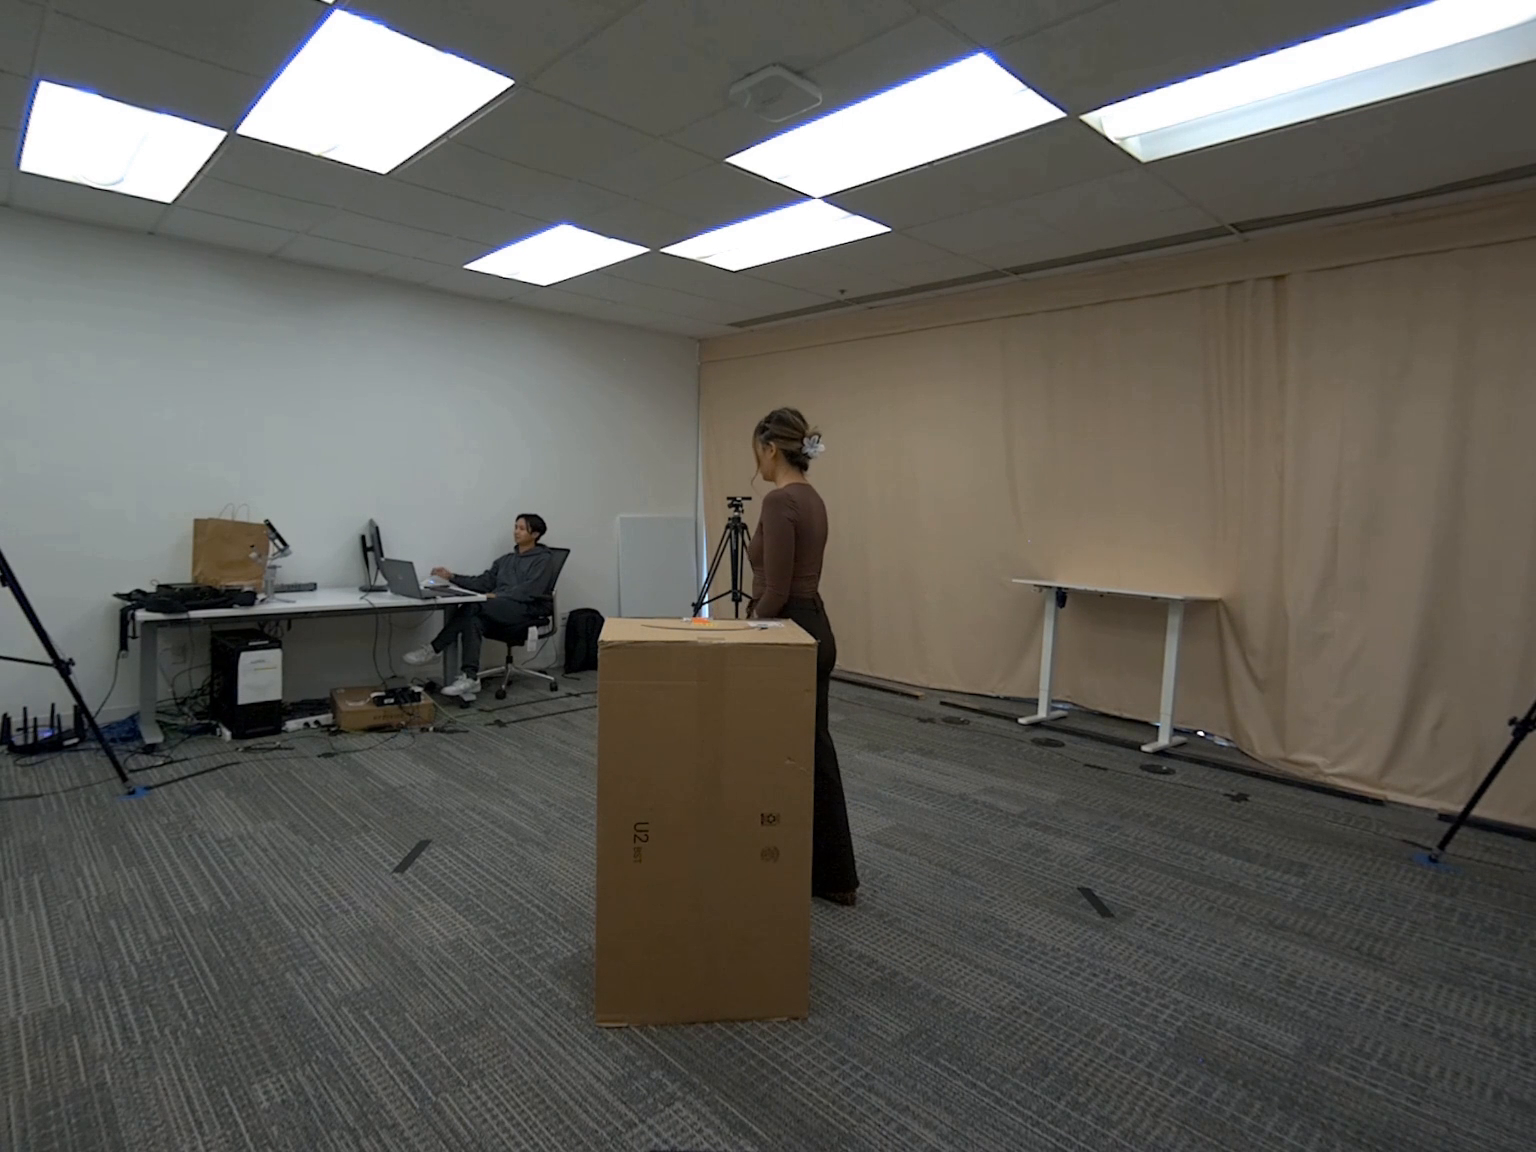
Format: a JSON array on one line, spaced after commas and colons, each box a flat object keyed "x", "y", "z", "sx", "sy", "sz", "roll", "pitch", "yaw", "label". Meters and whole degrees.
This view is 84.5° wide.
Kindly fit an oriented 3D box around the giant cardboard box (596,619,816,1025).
[{"x": -0.208, "y": 0.660, "z": 2.405, "sx": 0.580, "sy": 1.024, "sz": 0.451, "roll": 1, "pitch": 4, "yaw": -8, "label": "giant cardboard box"}]
